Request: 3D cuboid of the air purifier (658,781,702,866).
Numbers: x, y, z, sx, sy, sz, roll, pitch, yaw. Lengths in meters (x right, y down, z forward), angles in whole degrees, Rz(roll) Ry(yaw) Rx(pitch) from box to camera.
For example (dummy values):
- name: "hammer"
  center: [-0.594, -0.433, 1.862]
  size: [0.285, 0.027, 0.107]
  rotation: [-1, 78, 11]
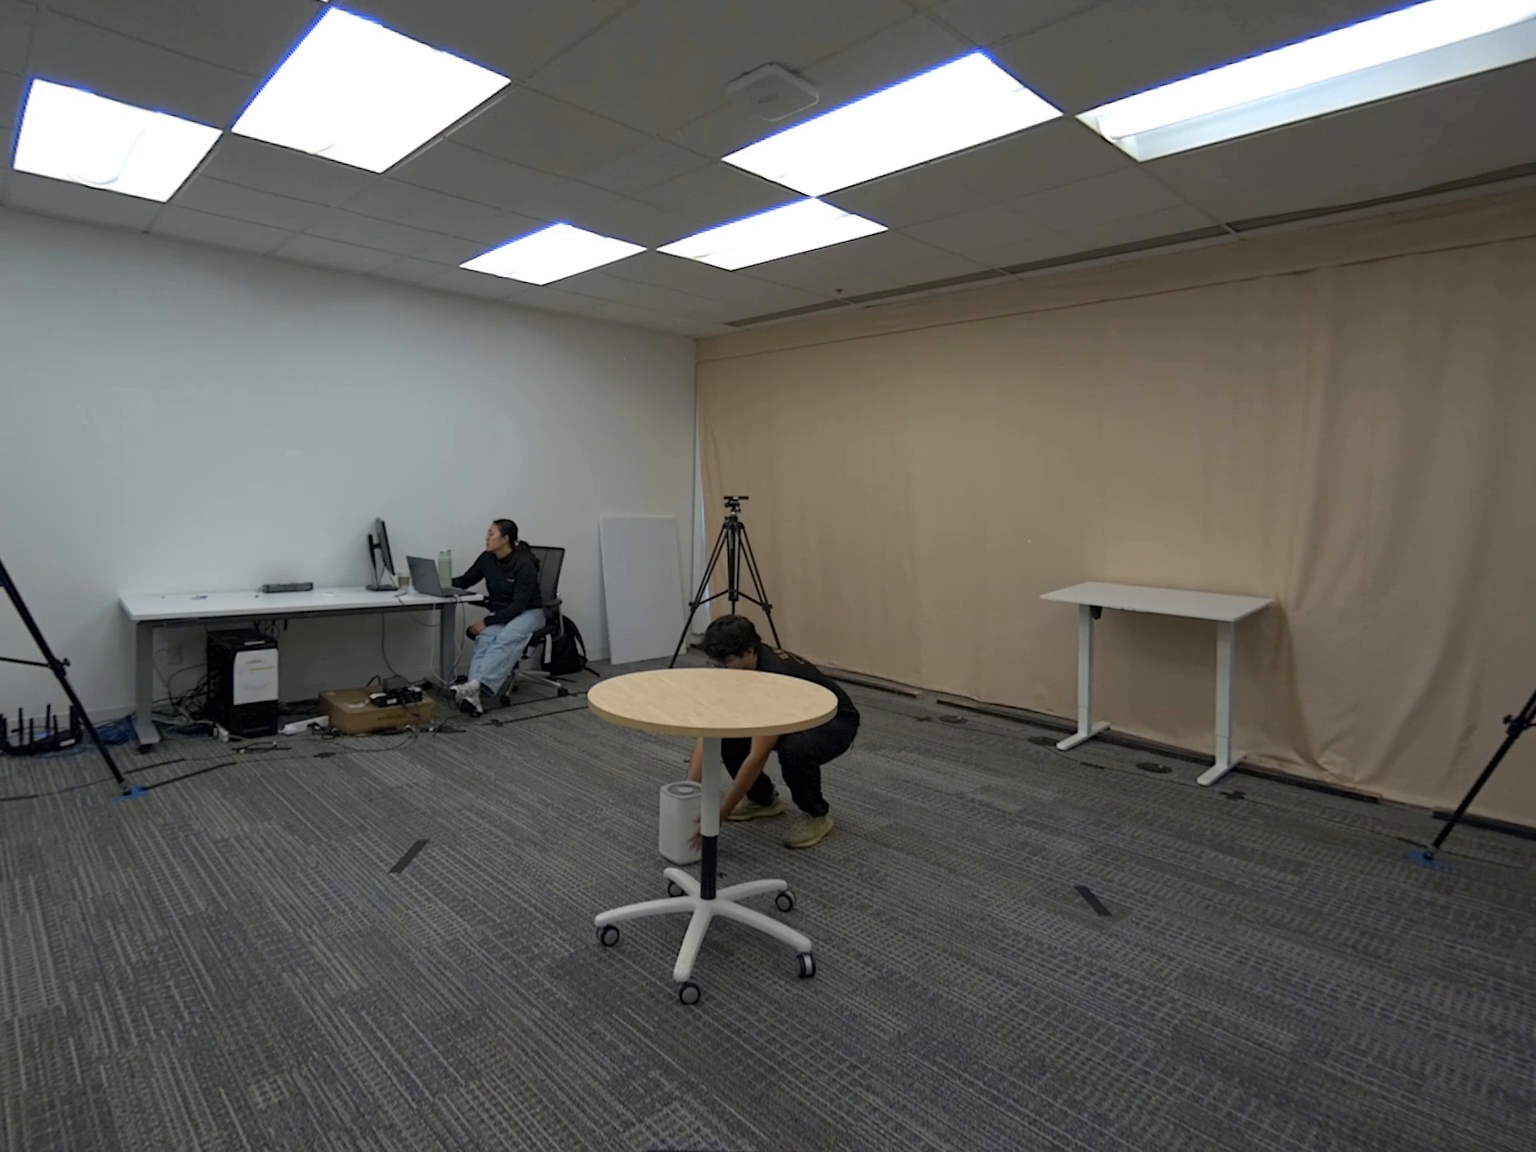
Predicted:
- name: "air purifier"
  center: [-0.351, 0.960, 3.254]
  size: [0.167, 0.264, 0.176]
  rotation: [-2, 5, -42]
